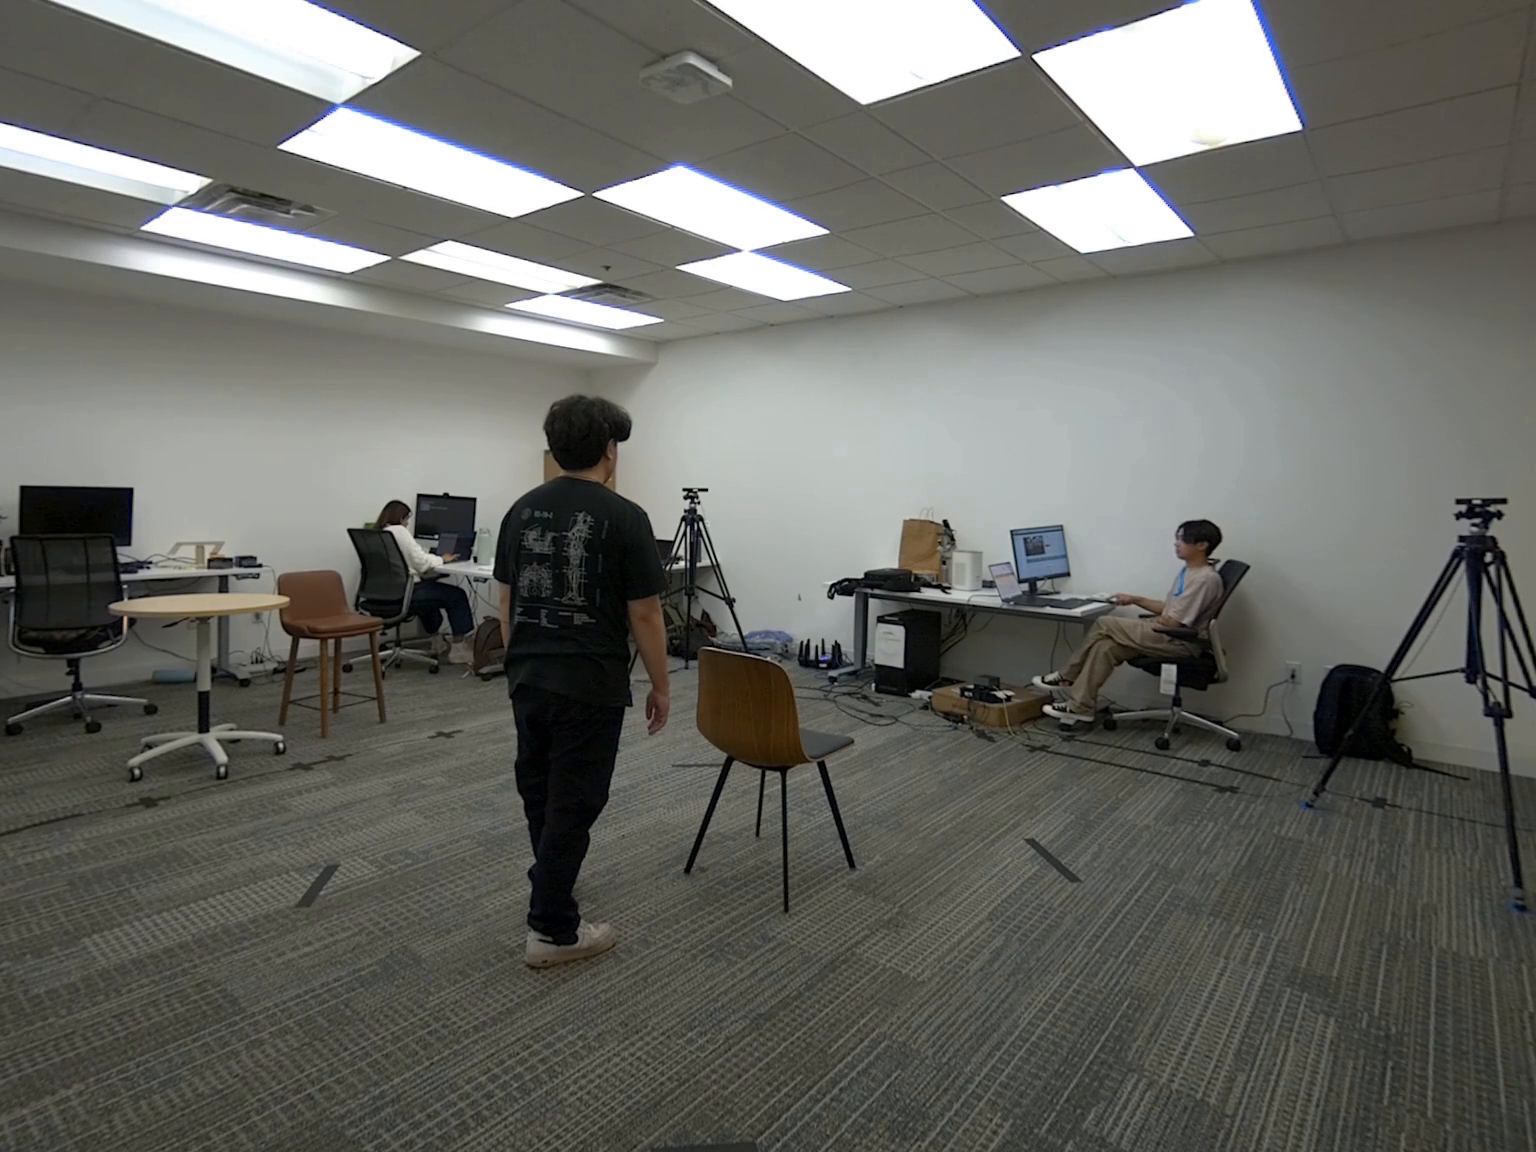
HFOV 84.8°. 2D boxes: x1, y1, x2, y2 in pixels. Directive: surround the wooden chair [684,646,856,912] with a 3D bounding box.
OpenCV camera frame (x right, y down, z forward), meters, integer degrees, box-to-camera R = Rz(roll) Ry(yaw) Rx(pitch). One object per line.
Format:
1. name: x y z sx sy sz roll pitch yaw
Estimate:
1. wooden chair: 0.013 0.648 3.091 0.494 0.872 0.510 3 8 37
